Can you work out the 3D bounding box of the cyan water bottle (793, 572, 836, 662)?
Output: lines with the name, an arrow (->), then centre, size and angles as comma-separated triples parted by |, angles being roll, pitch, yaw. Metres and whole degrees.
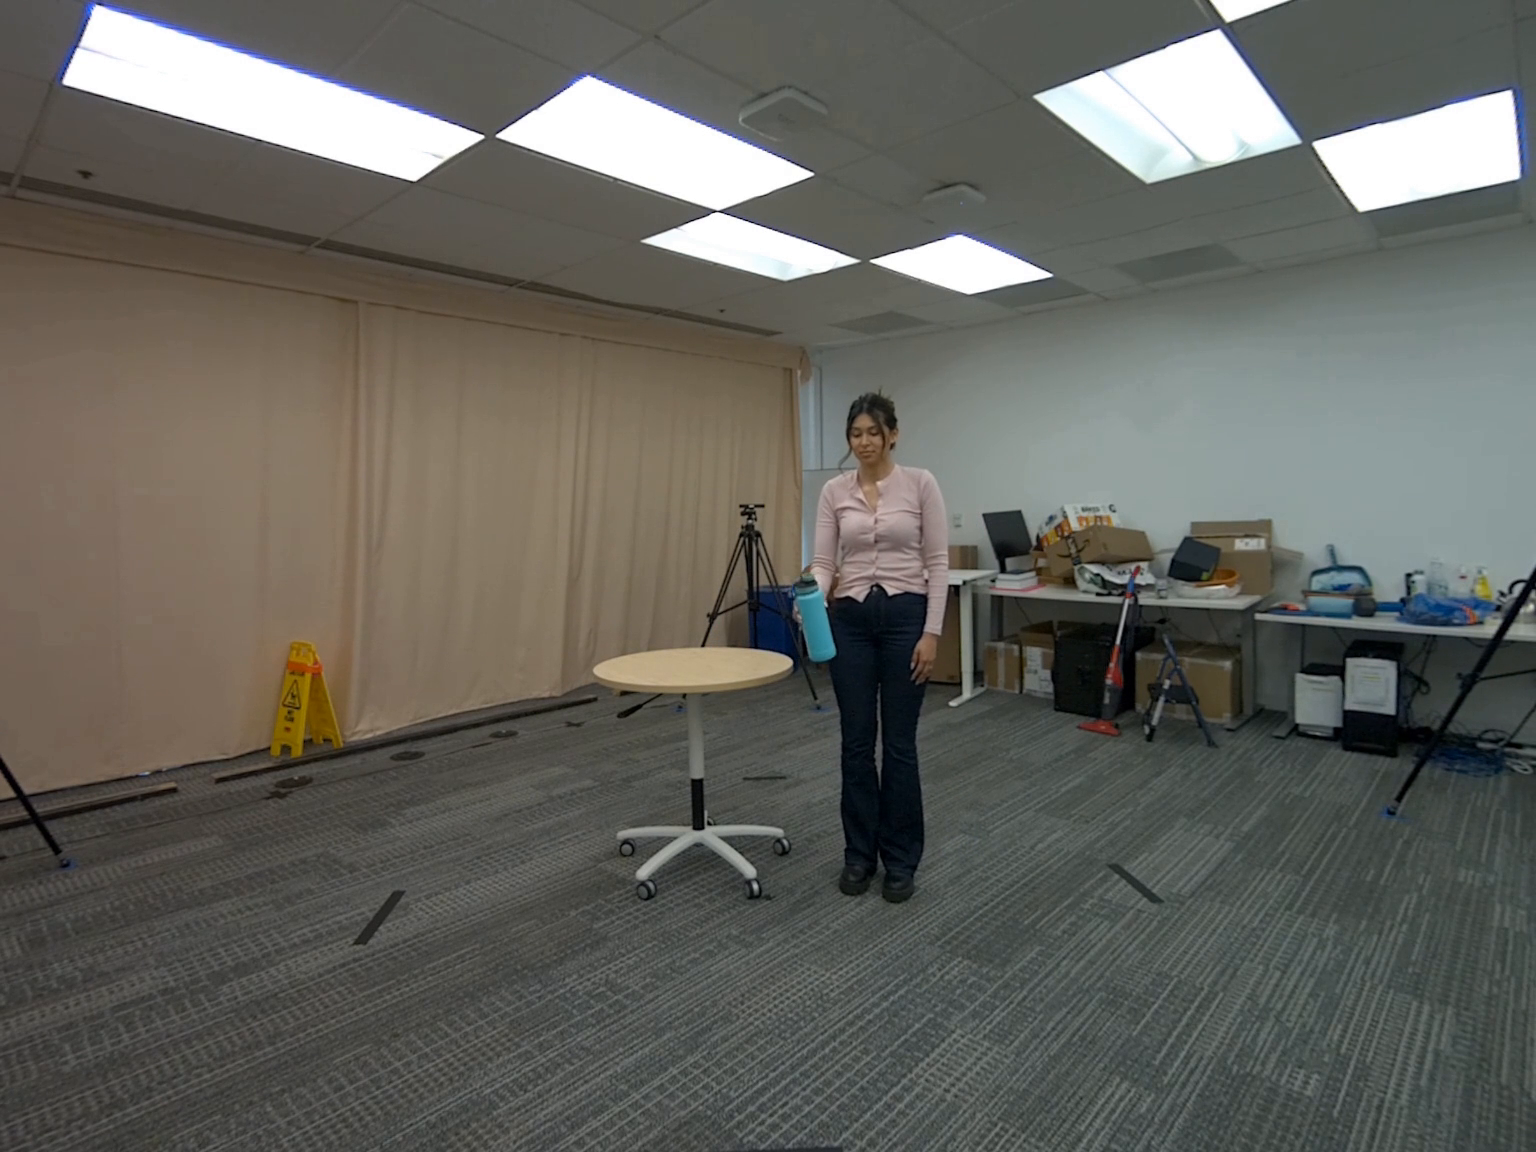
cyan water bottle -> 0.150, 0.095, 2.745 | 0.092, 0.281, 0.093 | -16, 9, 1
